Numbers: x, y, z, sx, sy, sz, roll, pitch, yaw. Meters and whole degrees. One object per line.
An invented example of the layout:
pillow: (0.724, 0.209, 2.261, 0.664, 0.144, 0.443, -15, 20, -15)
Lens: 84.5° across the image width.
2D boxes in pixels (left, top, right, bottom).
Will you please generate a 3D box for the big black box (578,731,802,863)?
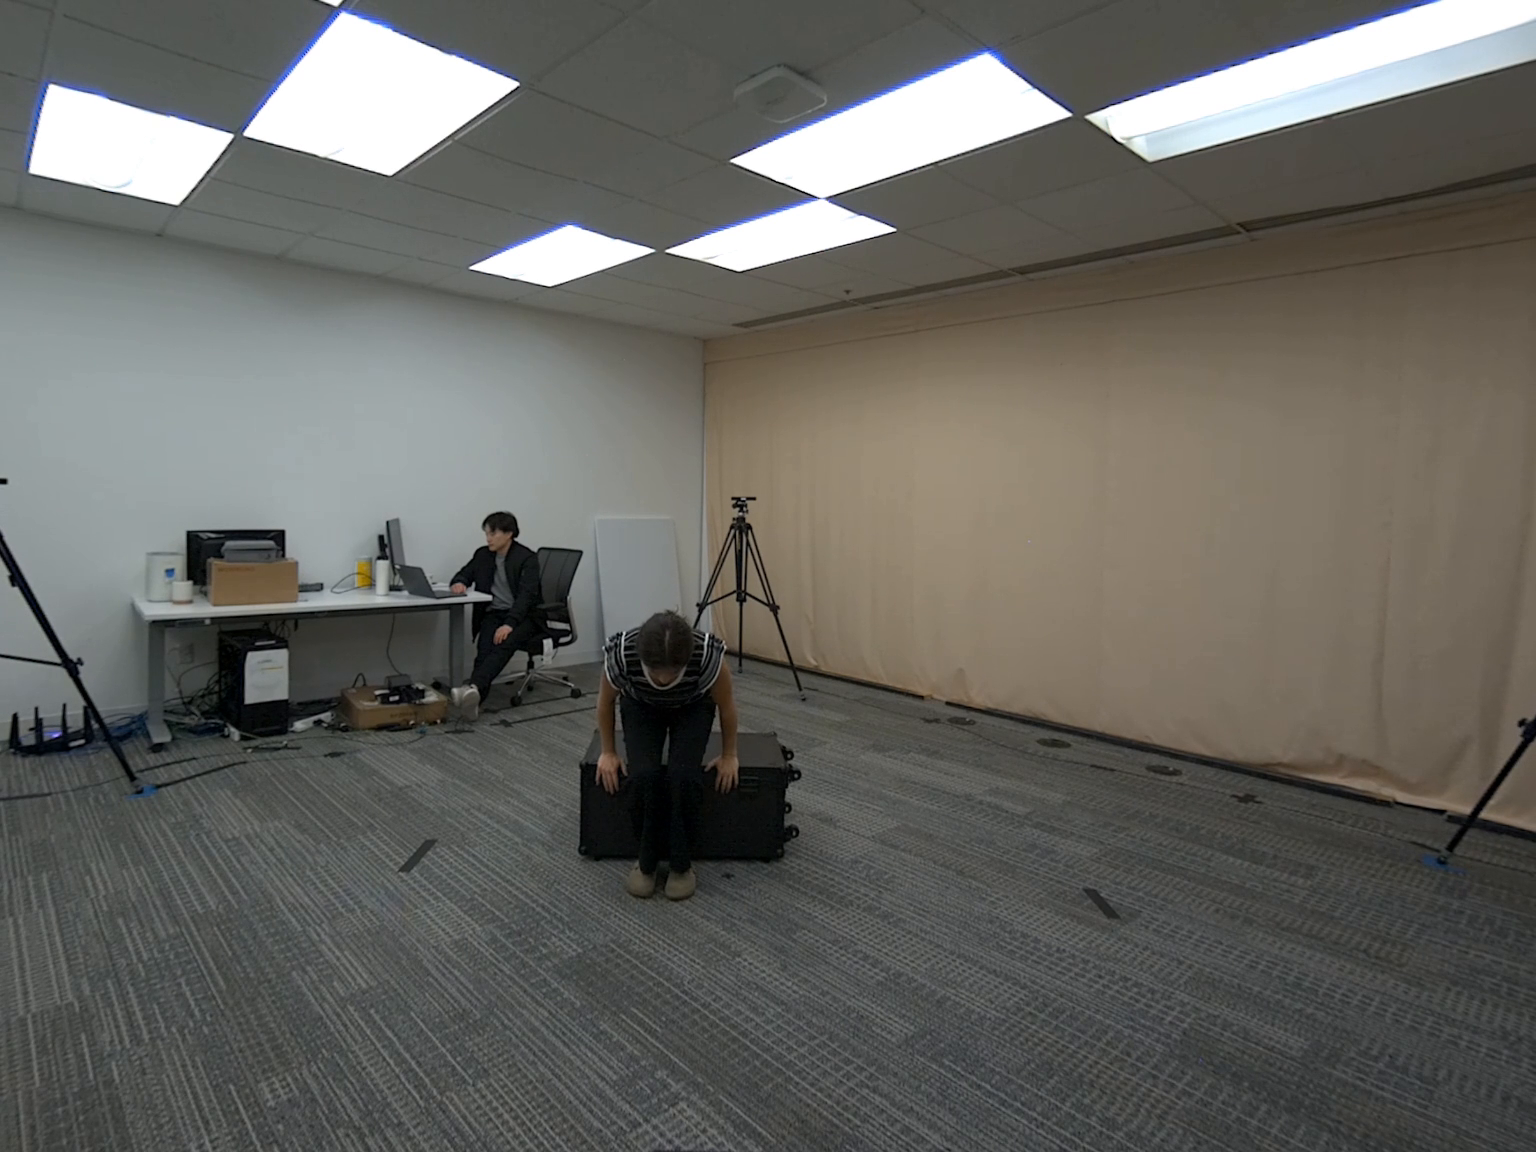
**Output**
big black box: (-0.313, 0.879, 3.436, 0.859, 0.395, 0.524, 1, 5, -4)
